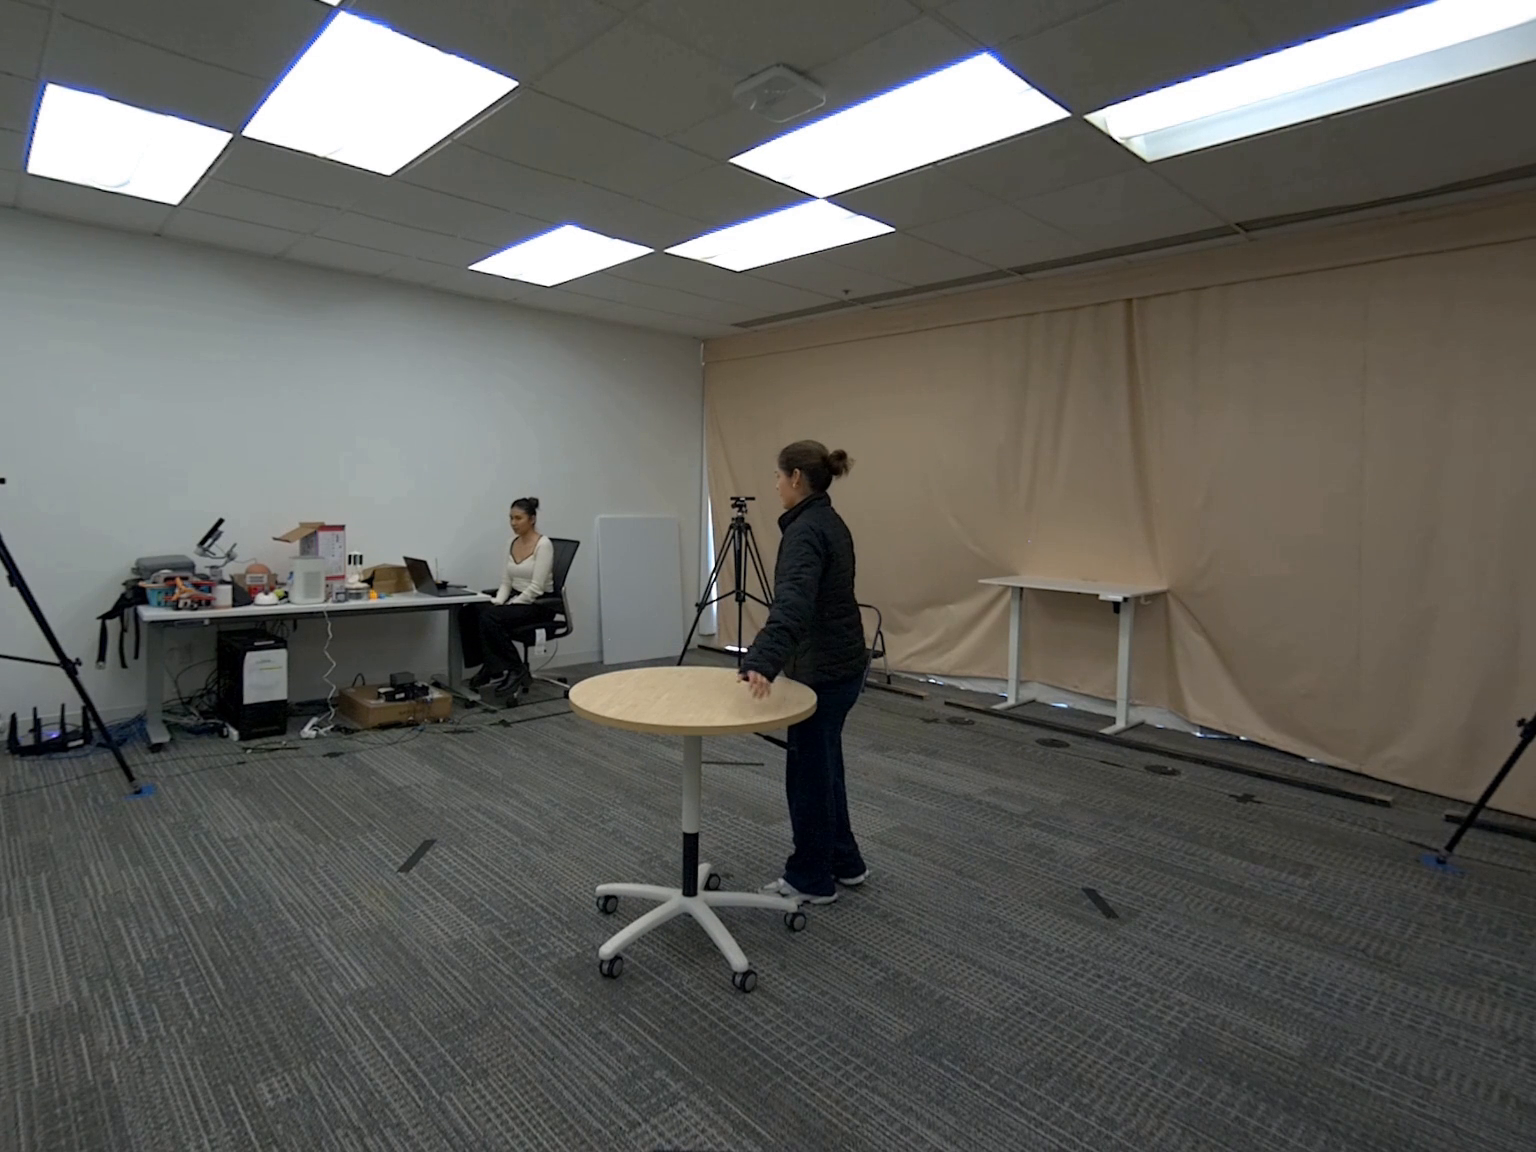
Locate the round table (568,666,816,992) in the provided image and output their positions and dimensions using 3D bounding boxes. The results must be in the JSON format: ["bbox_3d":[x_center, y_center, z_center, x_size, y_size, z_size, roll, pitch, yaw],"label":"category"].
[{"bbox_3d":[-0.236,0.754,2.640,0.784,0.784,0.788,1,5,-1],"label":"round table"}]
